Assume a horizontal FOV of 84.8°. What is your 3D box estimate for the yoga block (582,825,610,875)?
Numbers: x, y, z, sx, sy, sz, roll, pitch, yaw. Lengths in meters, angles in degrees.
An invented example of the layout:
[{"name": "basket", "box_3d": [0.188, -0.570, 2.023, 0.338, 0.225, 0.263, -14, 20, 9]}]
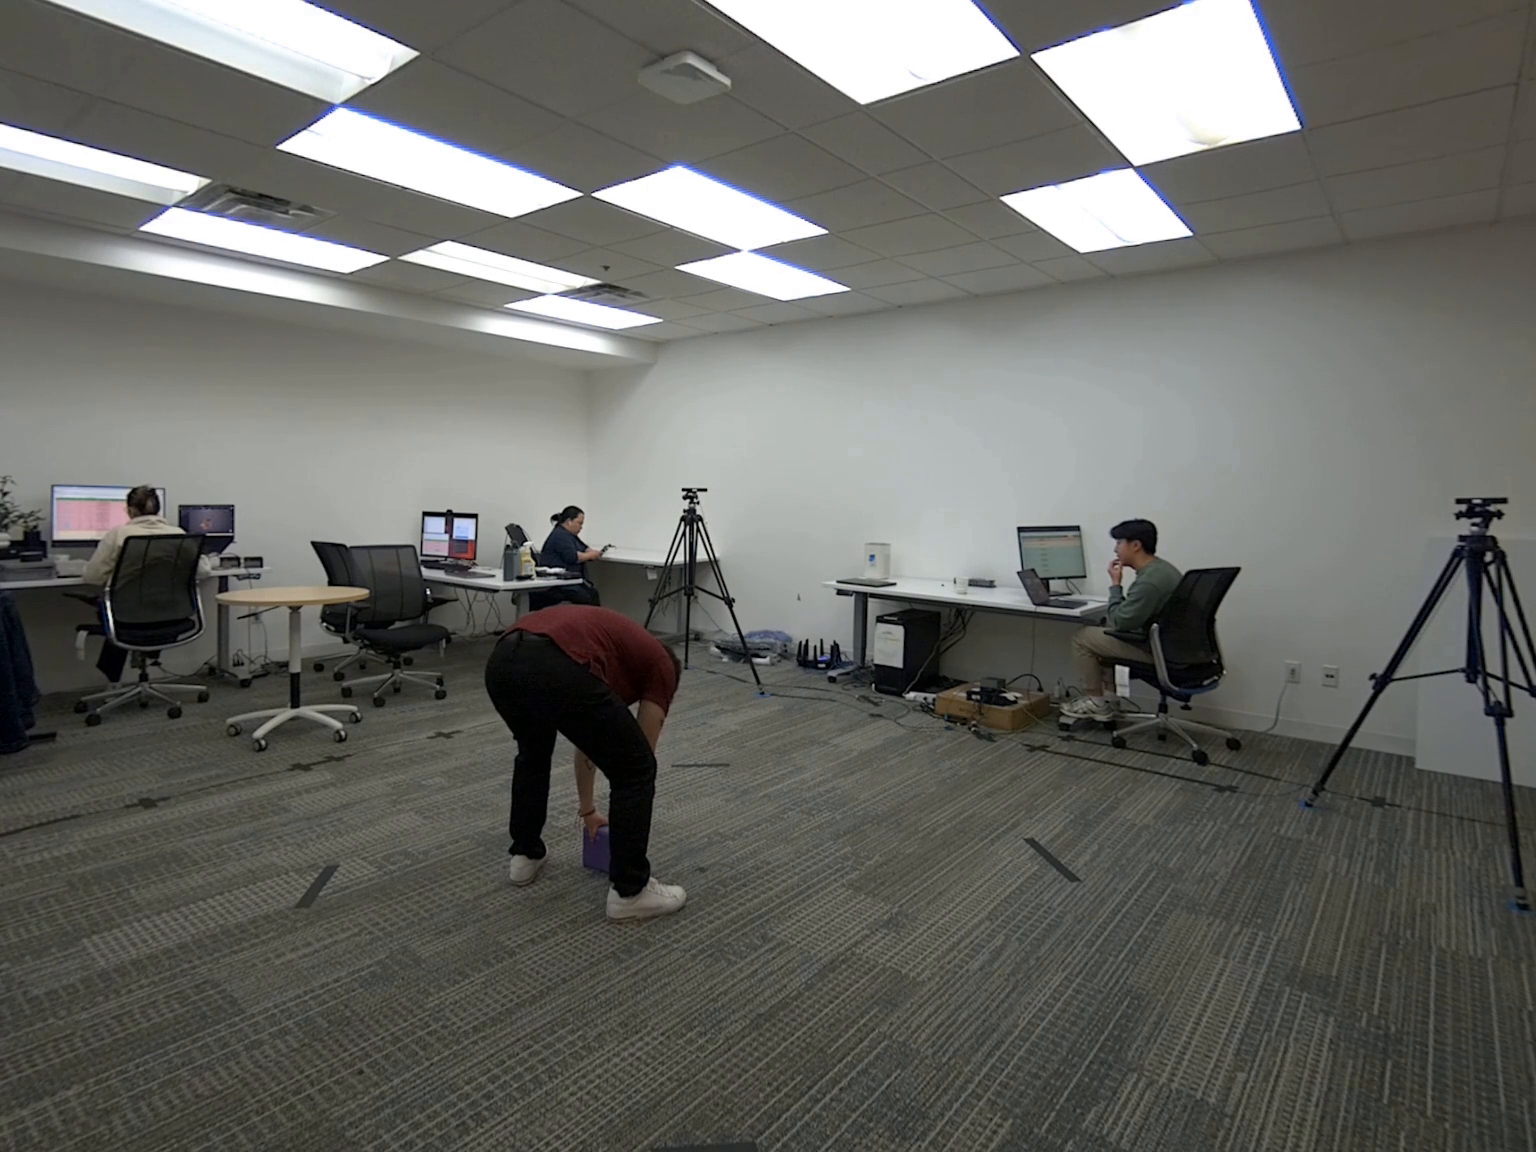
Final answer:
[{"name": "yoga block", "box_3d": [-0.582, 1.000, 3.080, 0.235, 0.148, 0.075, 1, 7, 27]}]
